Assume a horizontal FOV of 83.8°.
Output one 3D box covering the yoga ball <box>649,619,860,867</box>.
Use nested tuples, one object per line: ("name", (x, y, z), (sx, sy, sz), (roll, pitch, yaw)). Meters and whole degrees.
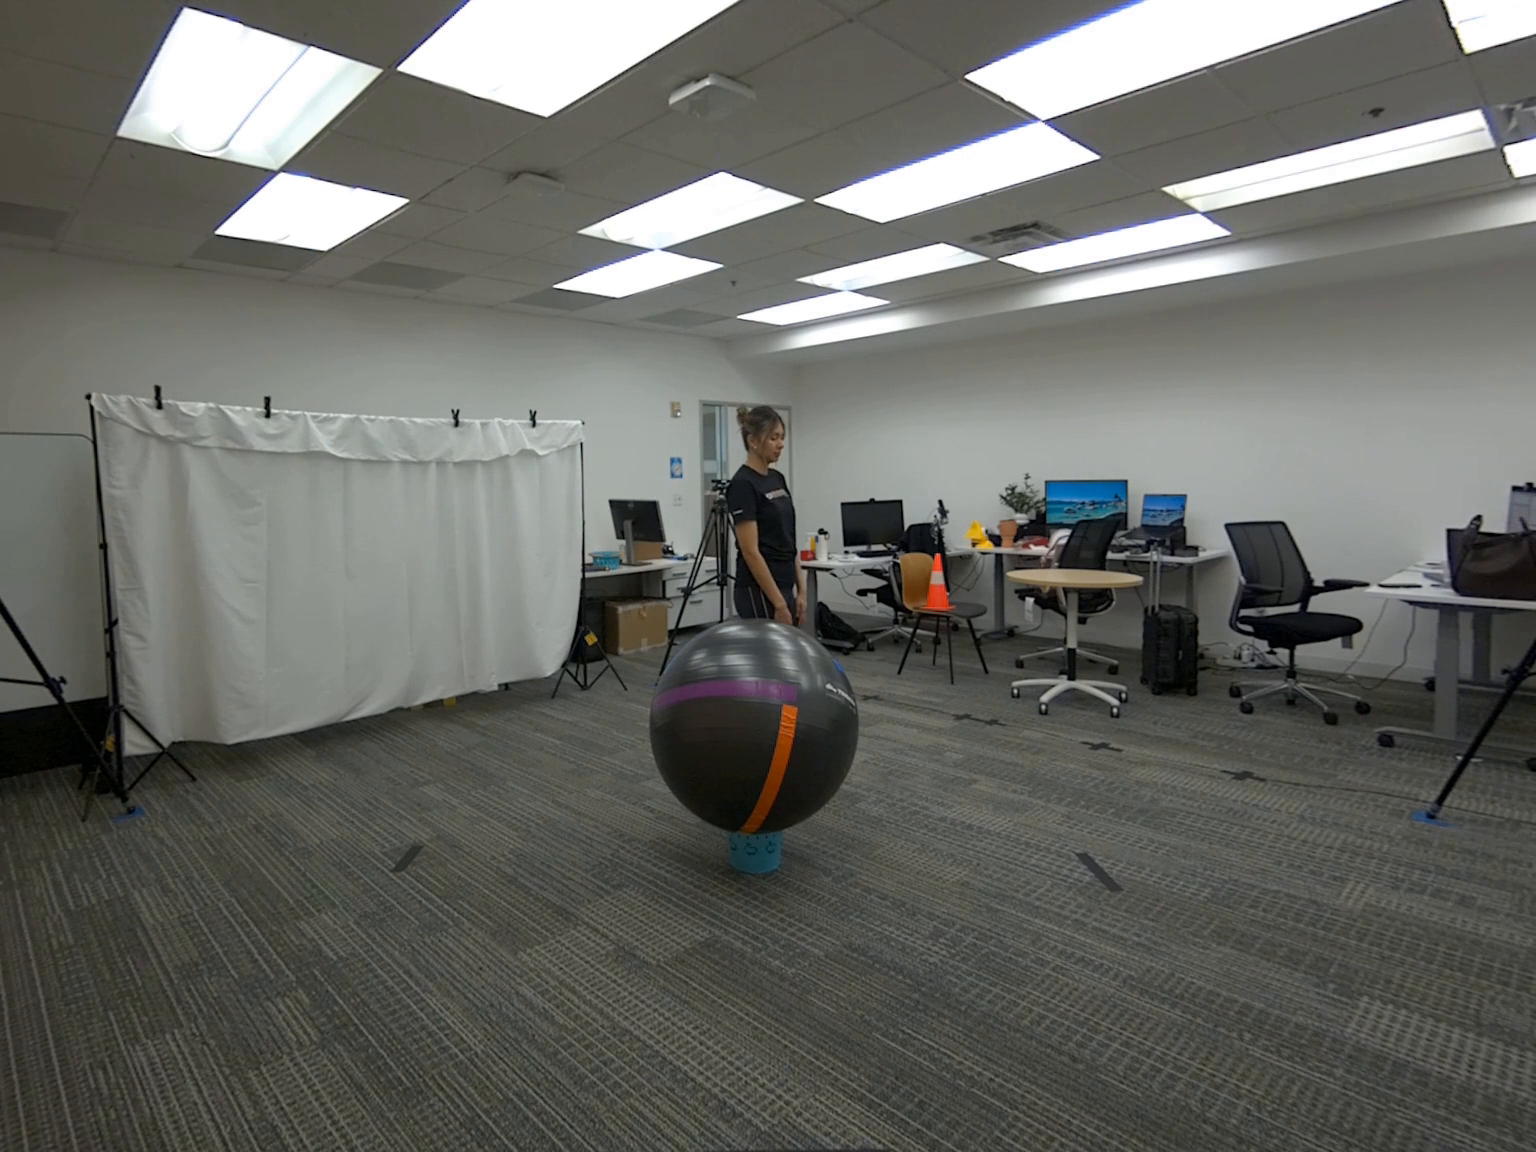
("yoga ball", (-0.051, 0.540, 3.105), (0.757, 0.755, 0.762), (-1, 5, -2))
